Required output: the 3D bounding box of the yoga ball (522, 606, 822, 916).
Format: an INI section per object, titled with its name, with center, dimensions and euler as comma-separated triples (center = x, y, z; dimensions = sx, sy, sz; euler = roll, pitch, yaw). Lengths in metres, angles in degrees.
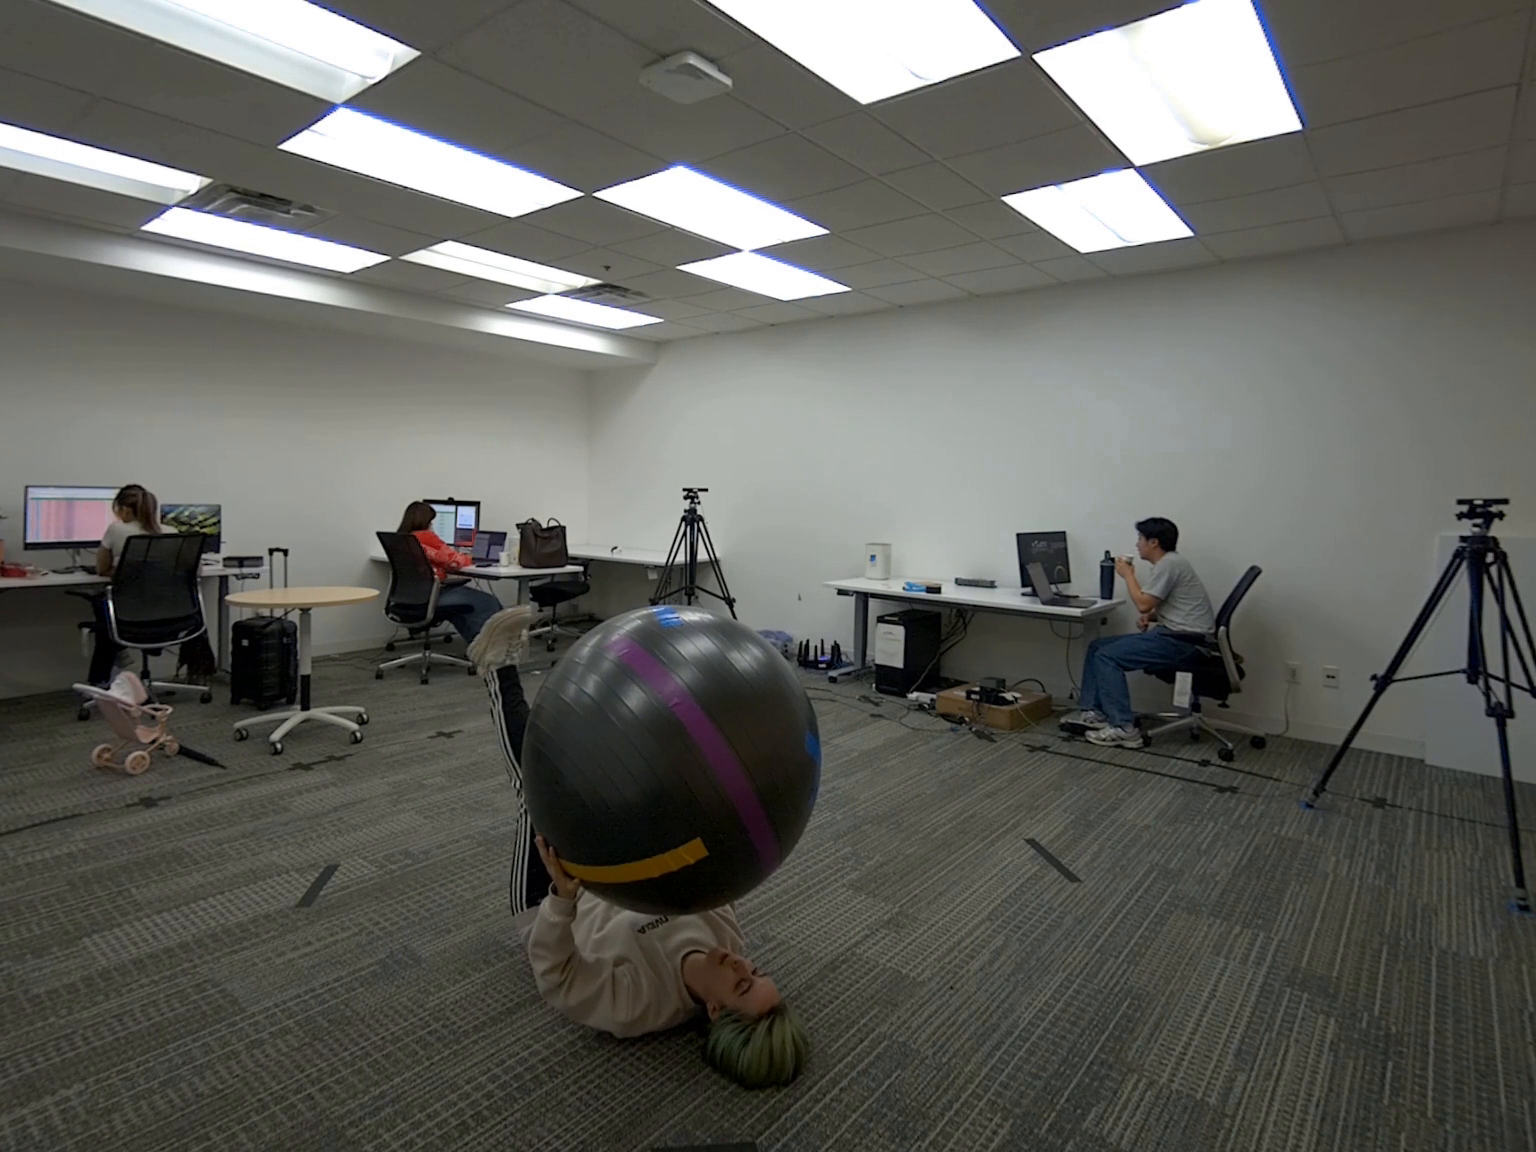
[yoga ball]
center = -0.249, 0.457, 2.167
dimensions = 0.757, 0.755, 0.762
euler = 1, 4, -2
